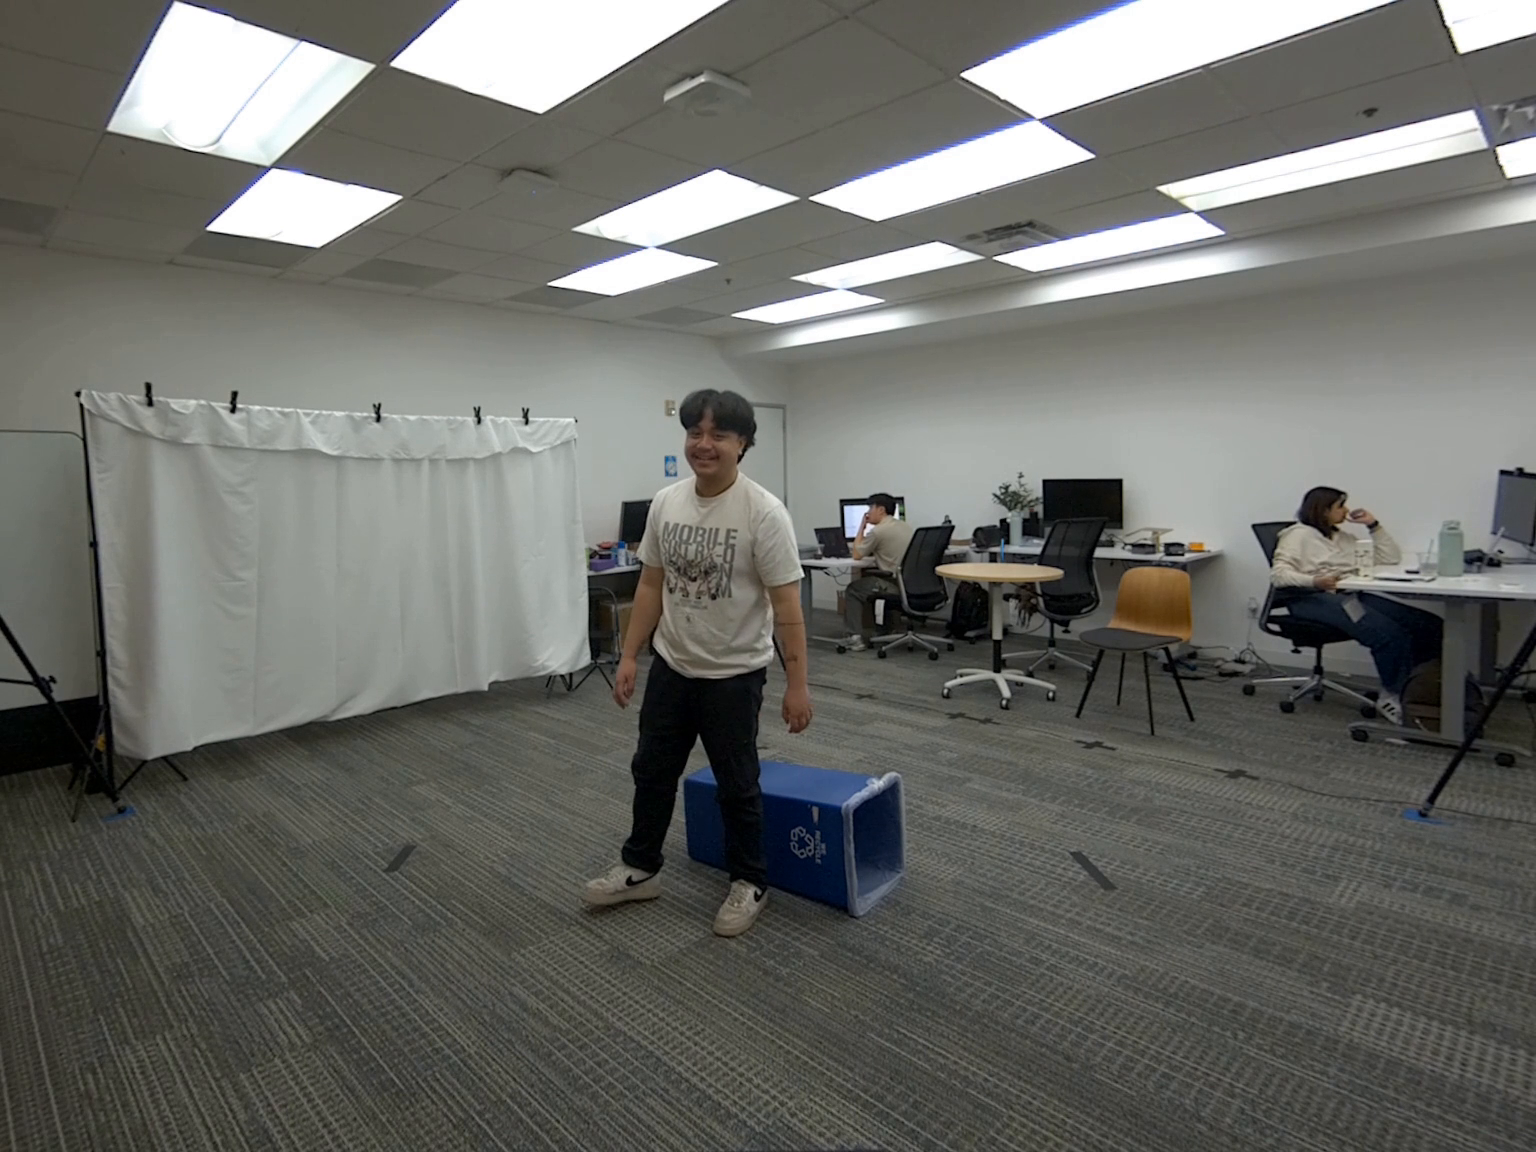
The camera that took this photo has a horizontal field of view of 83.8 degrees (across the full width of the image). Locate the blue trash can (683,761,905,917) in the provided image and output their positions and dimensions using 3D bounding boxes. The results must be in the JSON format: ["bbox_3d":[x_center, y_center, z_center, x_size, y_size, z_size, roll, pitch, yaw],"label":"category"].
[{"bbox_3d":[0.081,0.884,3.048,0.733,0.373,0.369,-1,5,36],"label":"blue trash can"}]
